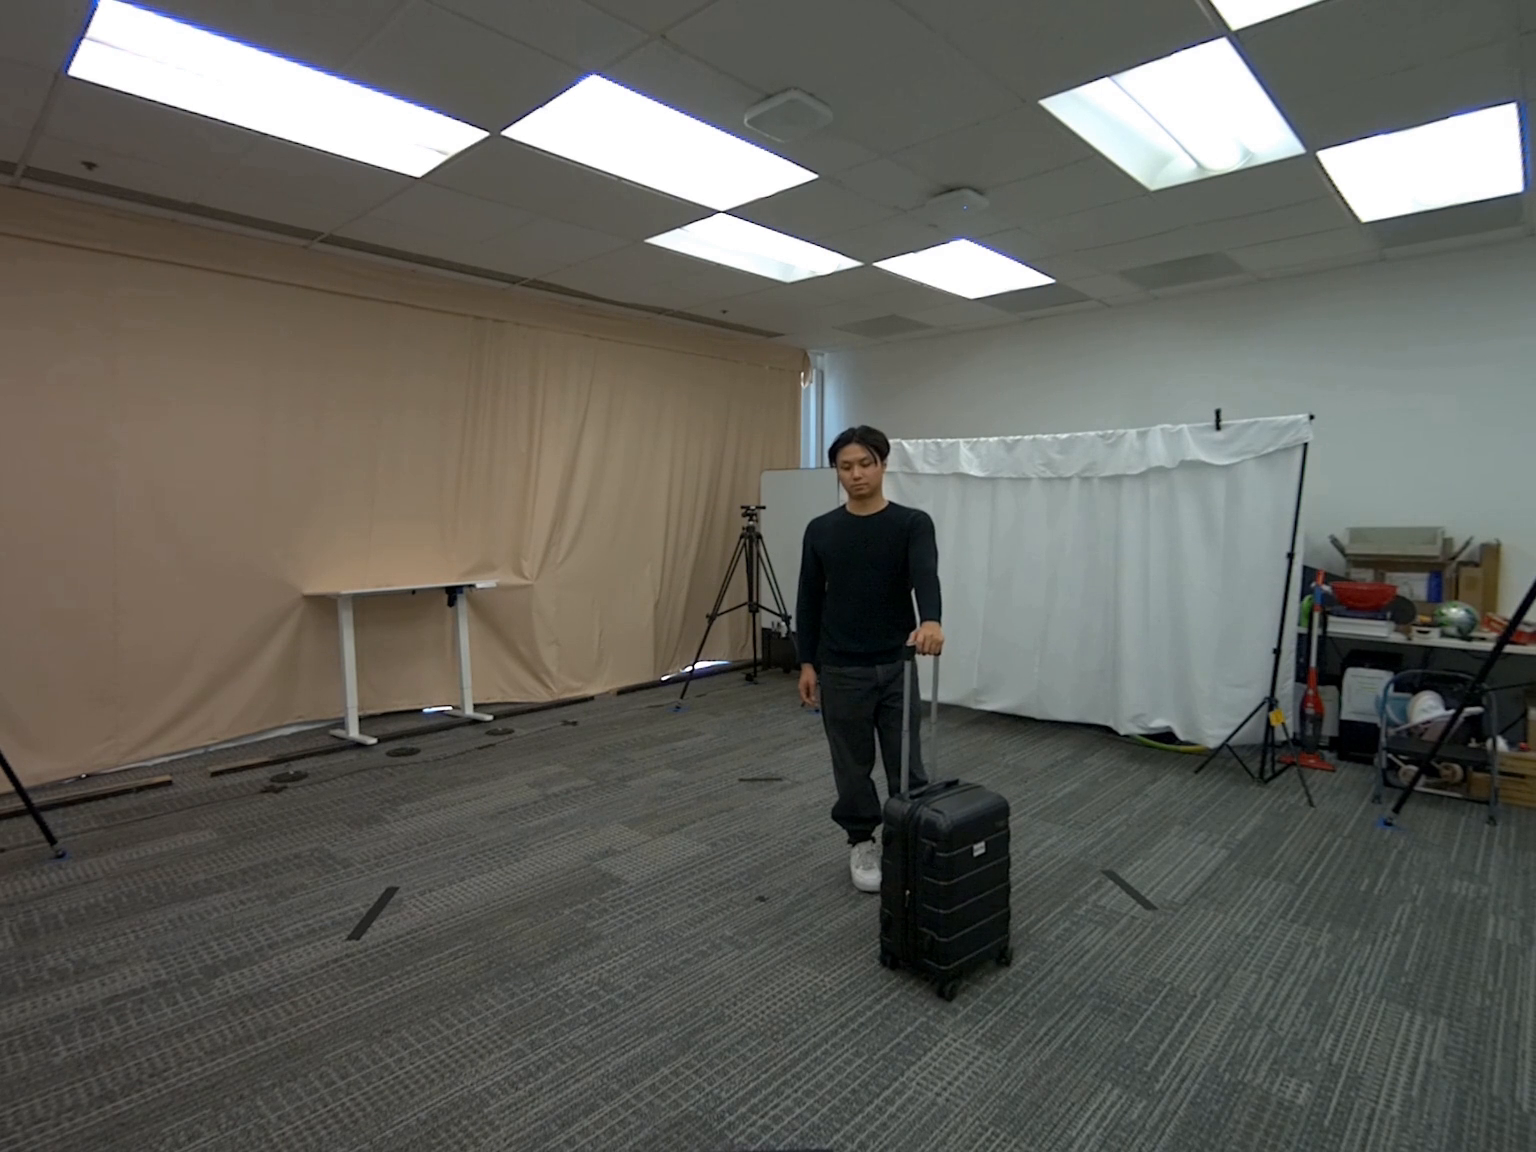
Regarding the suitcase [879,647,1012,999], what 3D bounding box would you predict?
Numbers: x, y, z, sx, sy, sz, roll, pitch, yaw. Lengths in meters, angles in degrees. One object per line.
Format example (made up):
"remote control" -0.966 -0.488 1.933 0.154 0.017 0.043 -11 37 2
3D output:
"suitcase" 0.543 0.704 2.501 0.373 0.974 0.266 -5 9 -40
